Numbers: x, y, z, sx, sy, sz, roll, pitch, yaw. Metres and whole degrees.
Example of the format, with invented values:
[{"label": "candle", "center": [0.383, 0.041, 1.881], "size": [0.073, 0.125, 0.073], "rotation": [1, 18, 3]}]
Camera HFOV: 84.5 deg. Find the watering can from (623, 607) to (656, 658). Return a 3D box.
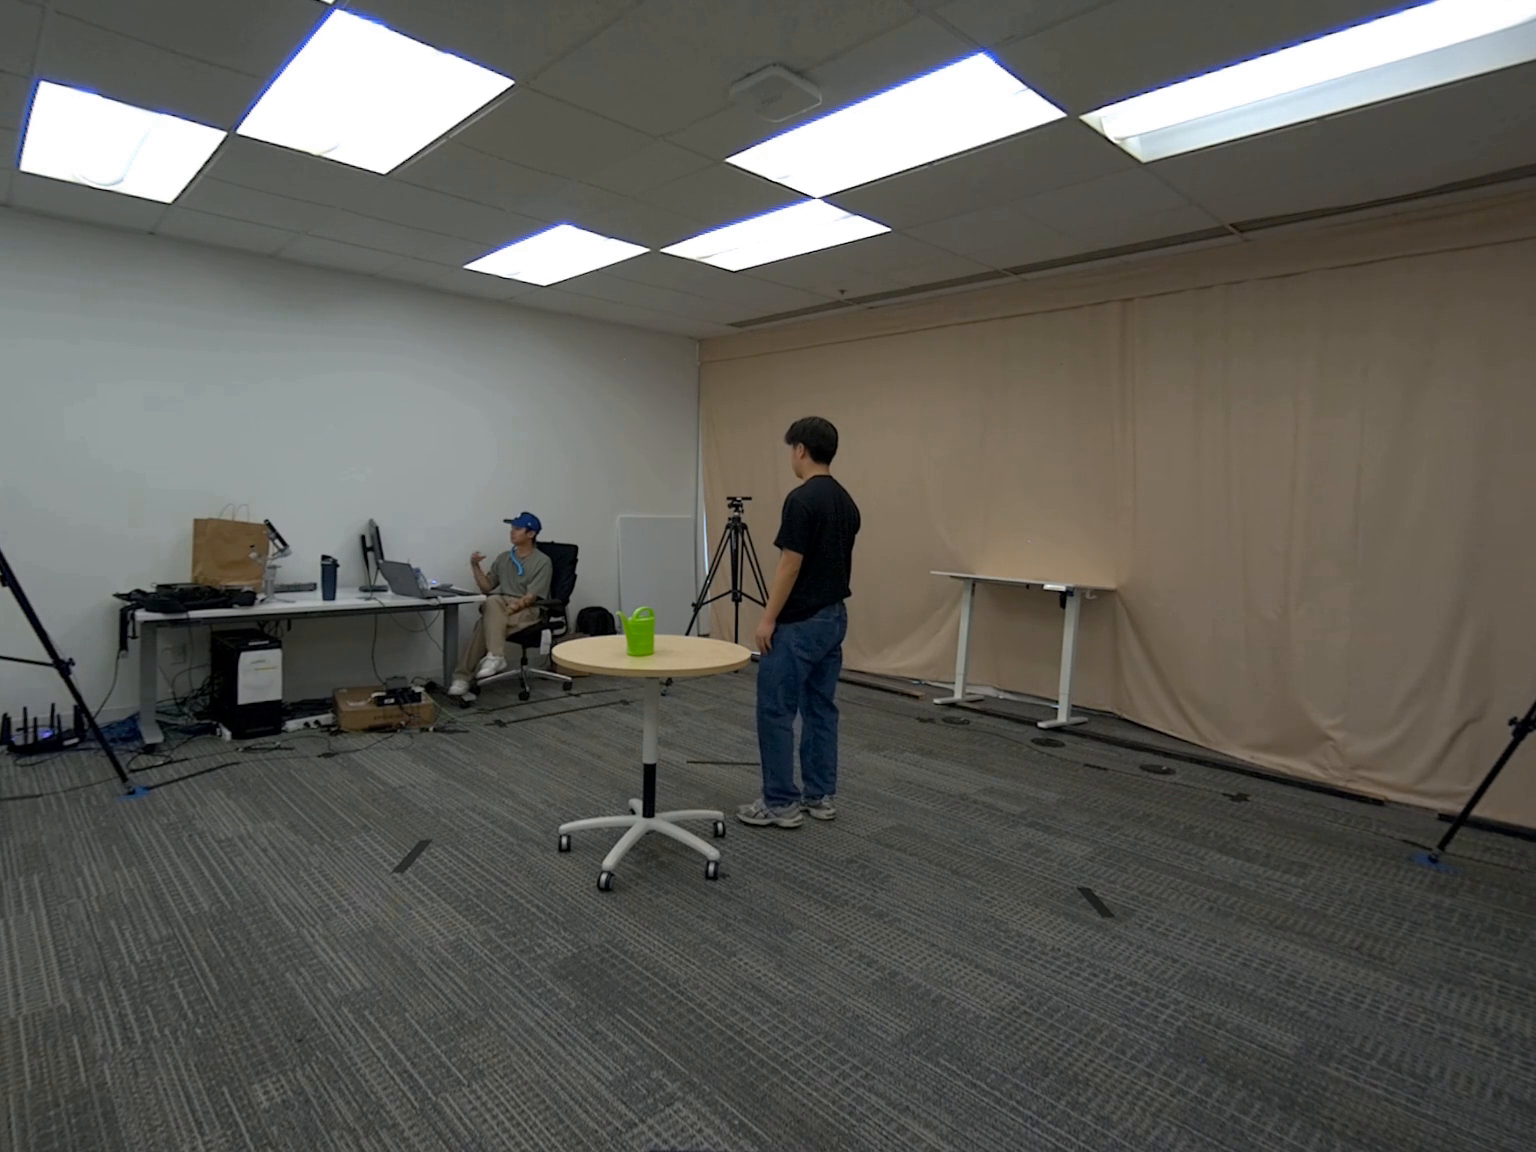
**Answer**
[{"label": "watering can", "center": [-0.503, 0.209, 3.146], "size": [0.100, 0.177, 0.272], "rotation": [2, 1, 29]}]
